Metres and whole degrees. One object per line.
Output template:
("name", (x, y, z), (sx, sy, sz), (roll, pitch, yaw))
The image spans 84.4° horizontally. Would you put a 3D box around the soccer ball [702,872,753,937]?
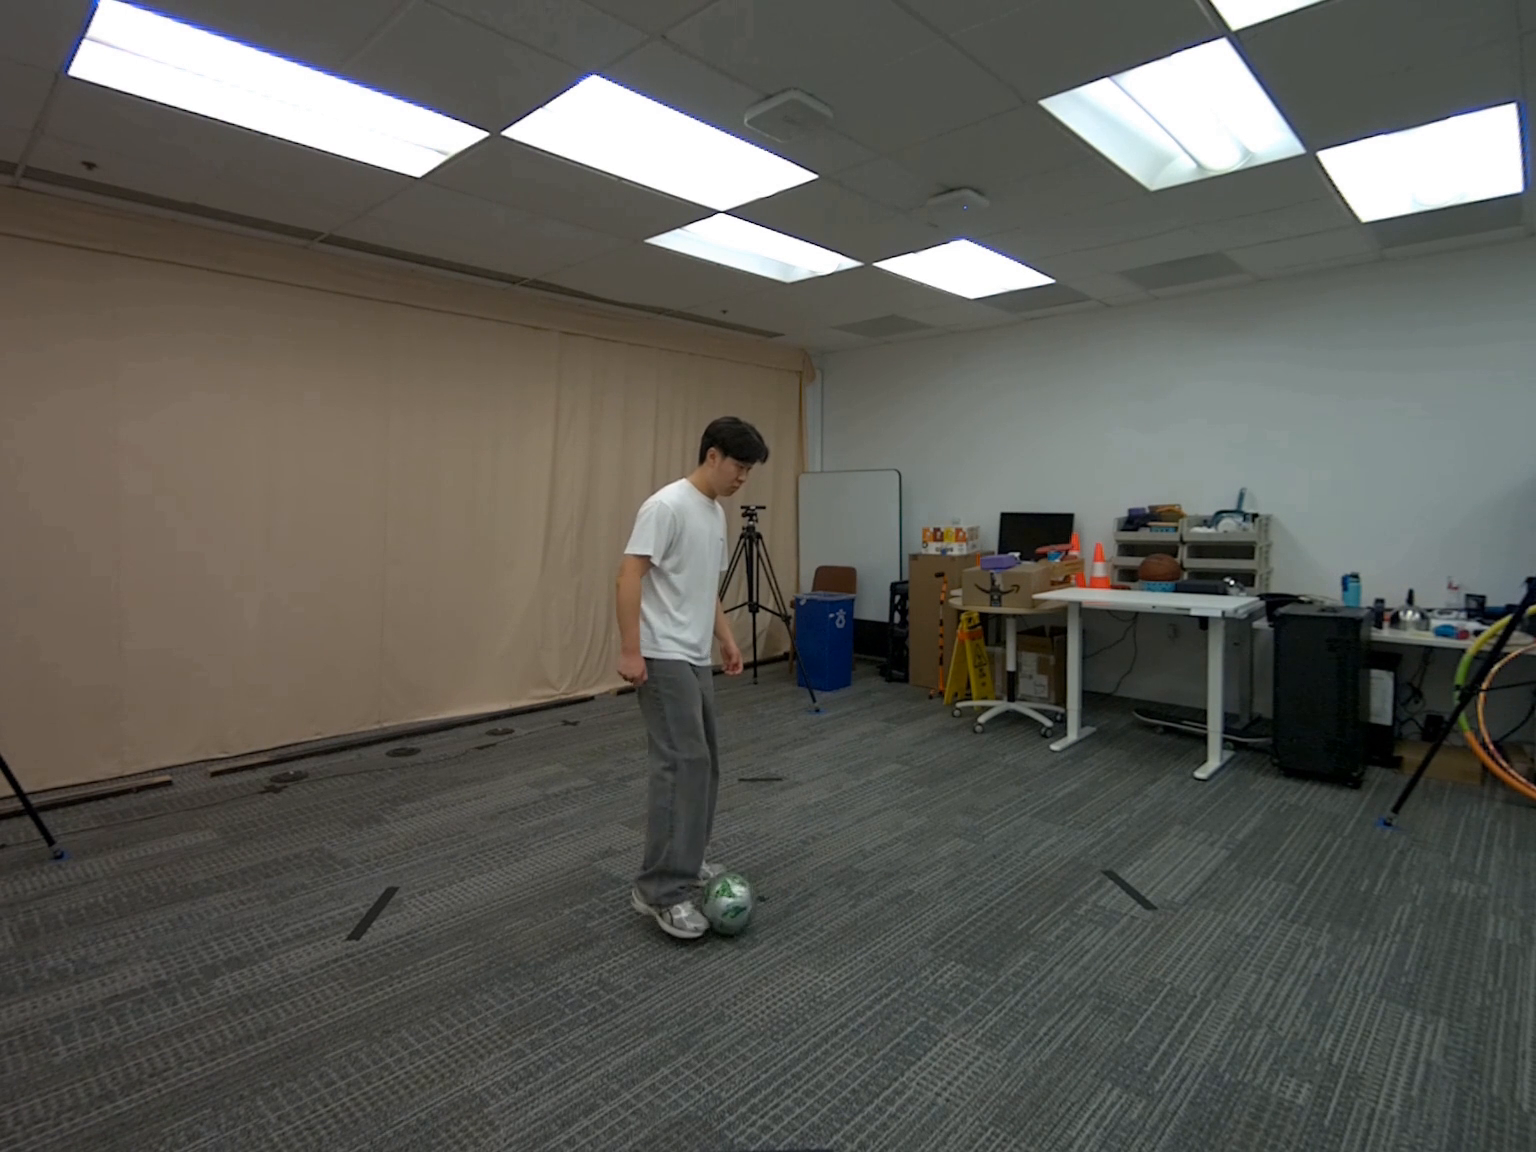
("soccer ball", (-0.092, 1.072, 2.751), (0.187, 0.187, 0.188), (0, 4, -2))
